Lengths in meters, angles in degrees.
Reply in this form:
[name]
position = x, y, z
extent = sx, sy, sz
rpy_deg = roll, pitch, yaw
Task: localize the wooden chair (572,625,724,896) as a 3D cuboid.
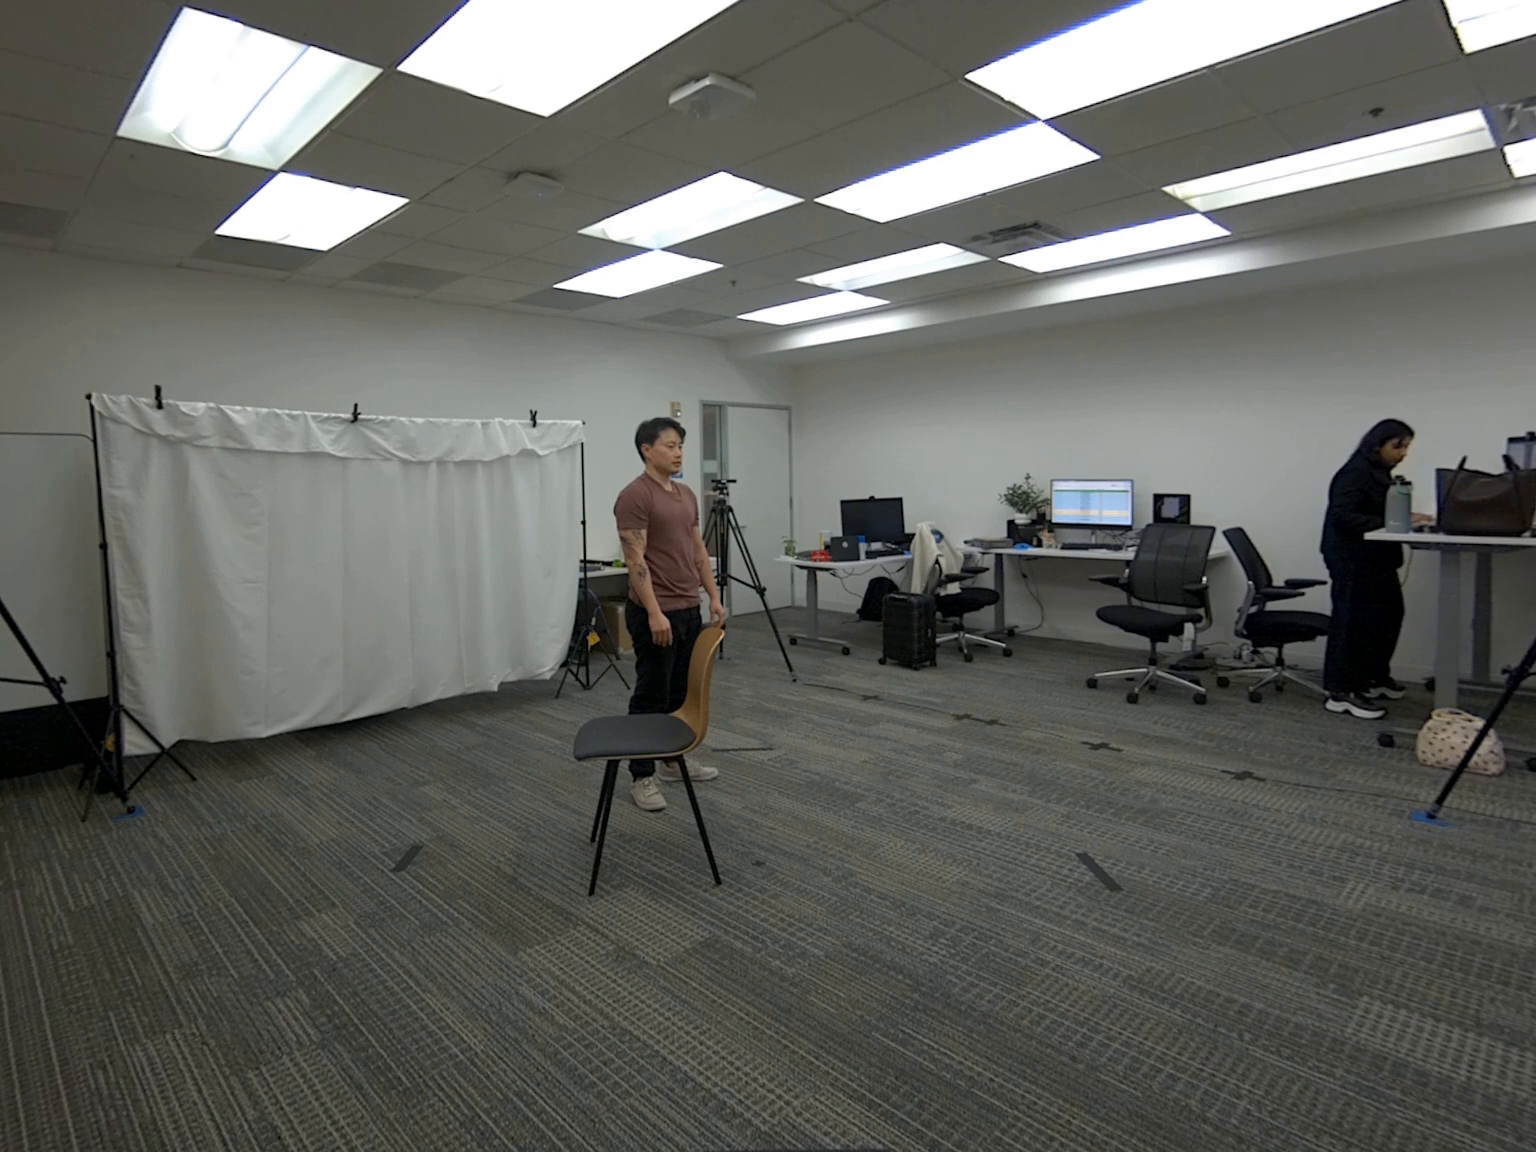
[wooden chair]
position = -0.443, 0.630, 3.107
extent = 0.518, 0.875, 0.484
rpy_deg = 2, 4, -10
